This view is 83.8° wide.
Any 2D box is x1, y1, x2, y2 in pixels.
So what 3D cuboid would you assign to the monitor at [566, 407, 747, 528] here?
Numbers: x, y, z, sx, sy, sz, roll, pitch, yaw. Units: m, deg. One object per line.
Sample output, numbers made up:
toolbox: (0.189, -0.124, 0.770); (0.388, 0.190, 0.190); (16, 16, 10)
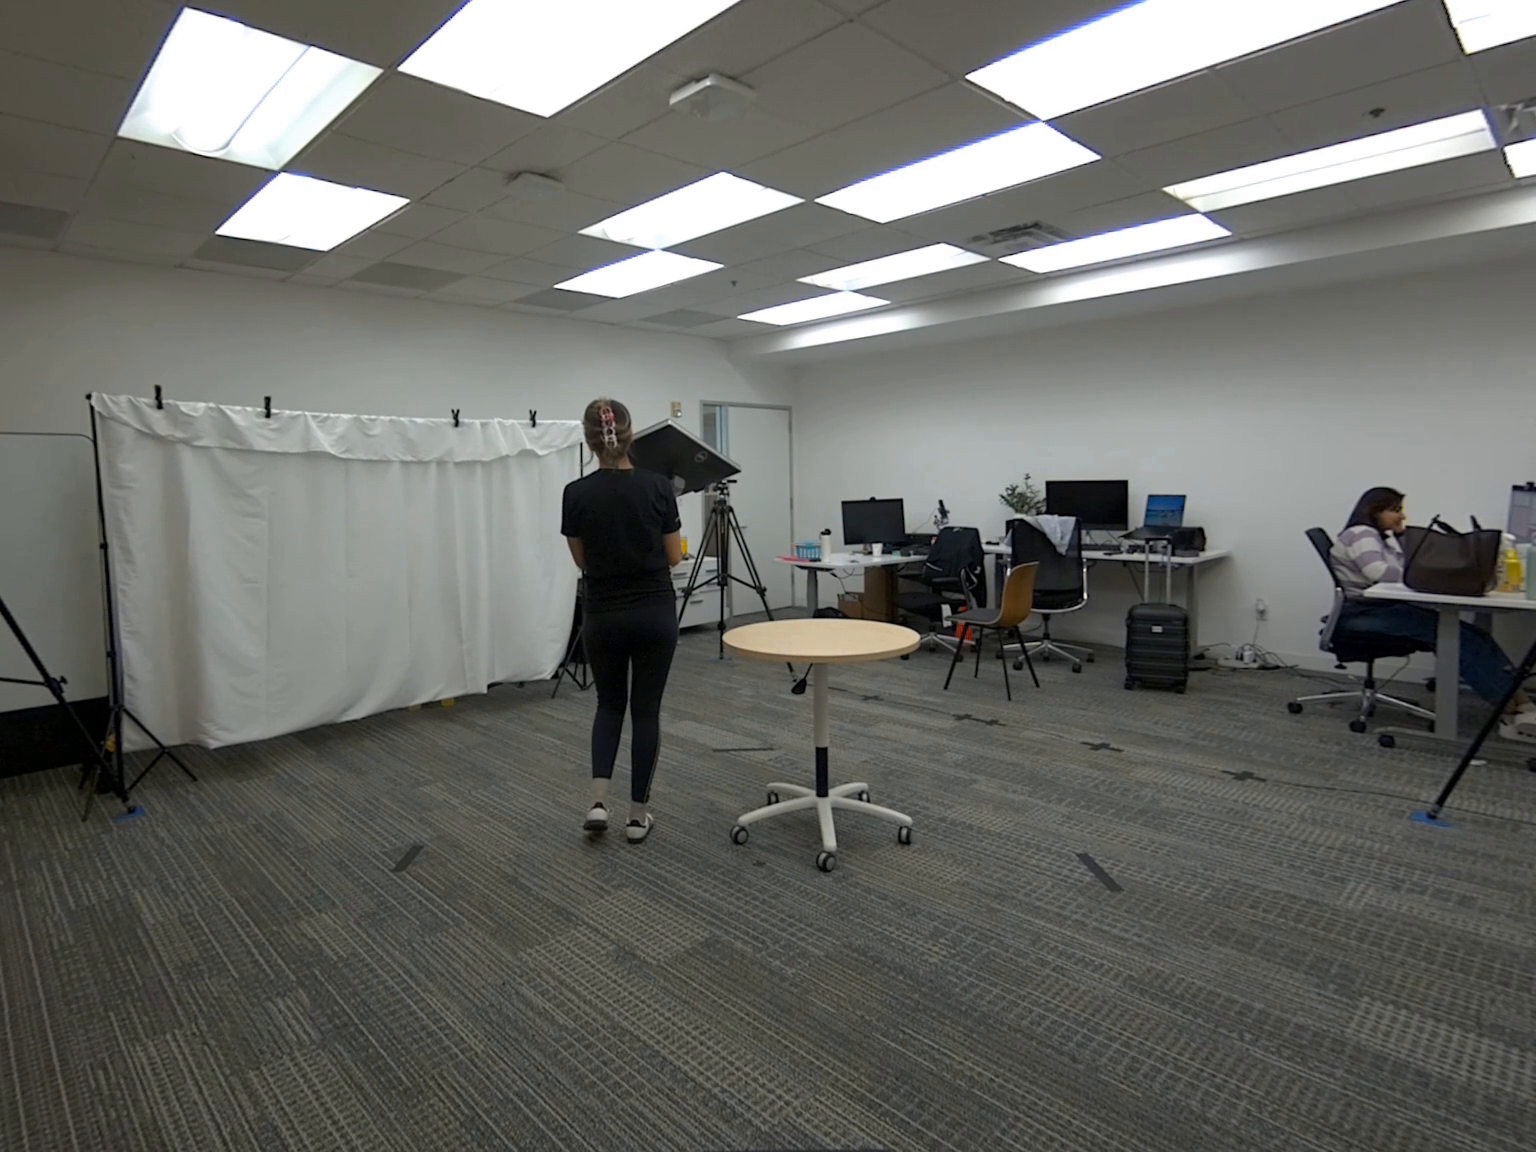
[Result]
monitor: (-0.463, -0.401, 3.617); (0.525, 0.192, 0.521); (-33, -24, 18)
